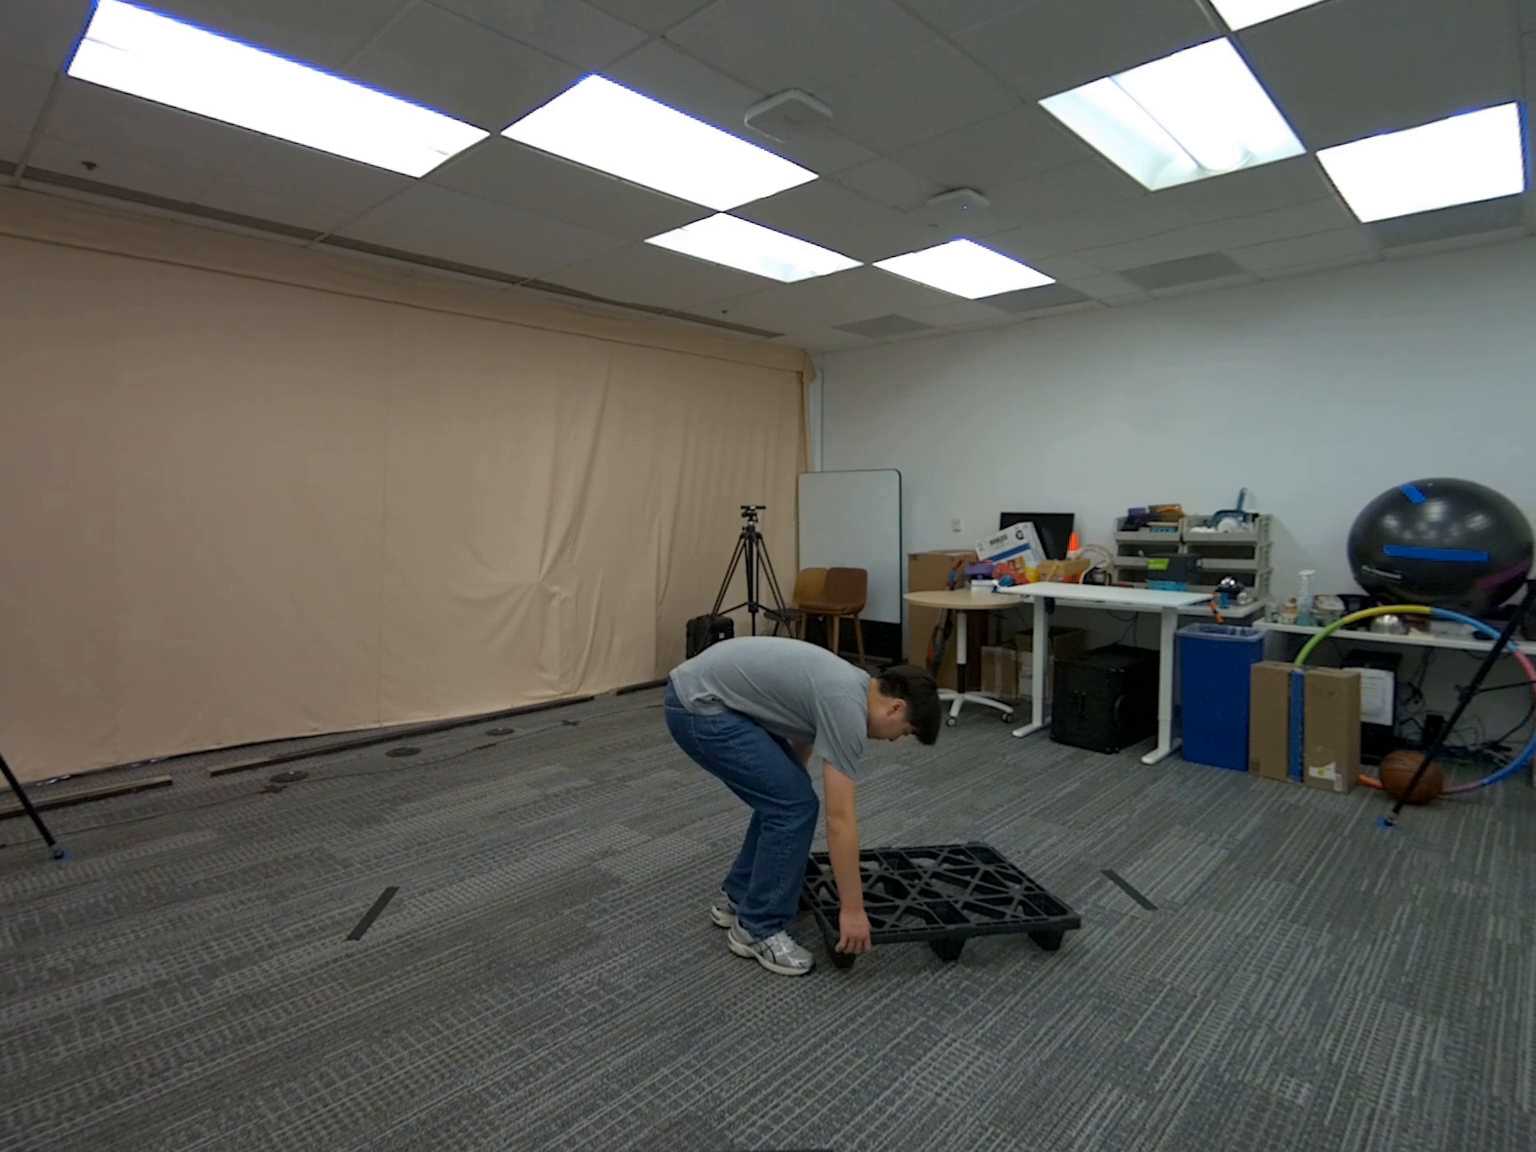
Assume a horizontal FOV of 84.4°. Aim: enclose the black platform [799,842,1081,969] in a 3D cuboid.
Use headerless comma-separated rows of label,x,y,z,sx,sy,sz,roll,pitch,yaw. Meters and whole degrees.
black platform,0.521,1.079,2.782,0.795,0.143,0.615,1,5,-12
